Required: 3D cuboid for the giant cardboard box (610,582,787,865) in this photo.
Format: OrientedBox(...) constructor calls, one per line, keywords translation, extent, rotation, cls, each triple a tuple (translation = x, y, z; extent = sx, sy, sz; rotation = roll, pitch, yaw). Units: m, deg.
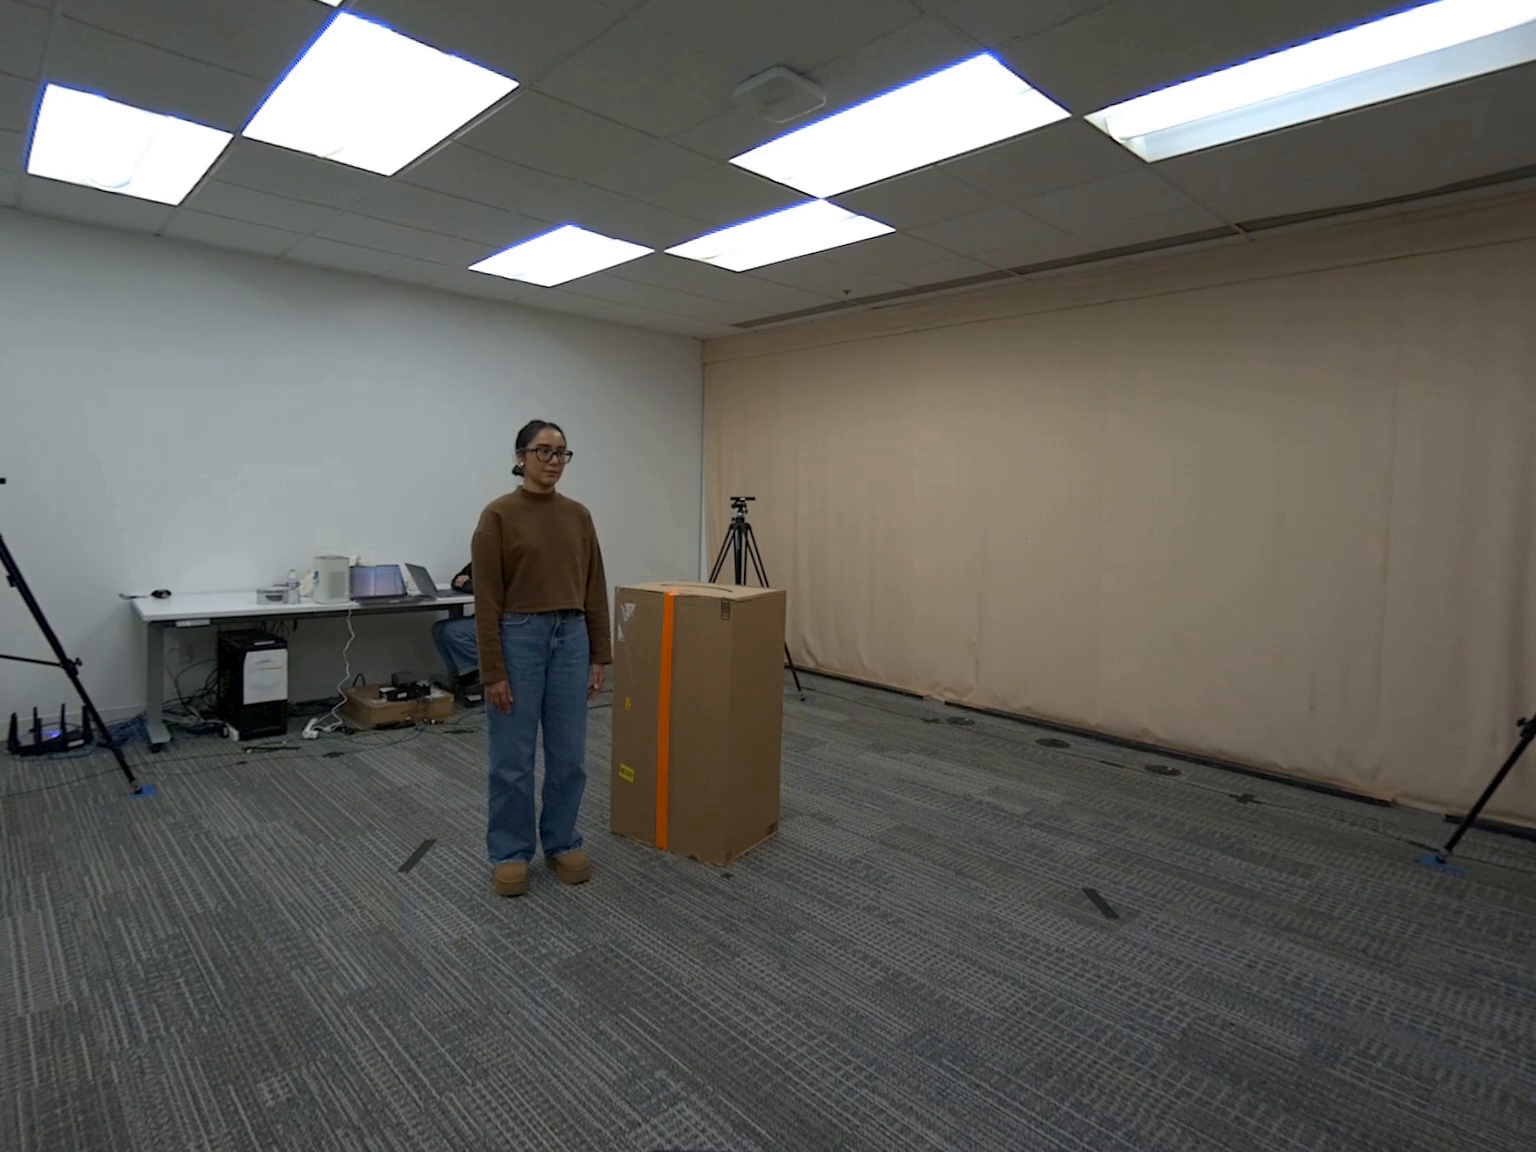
OrientedBox(translation=(-0.295, 0.562, 3.477), extent=(0.591, 1.023, 0.417), rotation=(4, 4, 32), cls="giant cardboard box")
